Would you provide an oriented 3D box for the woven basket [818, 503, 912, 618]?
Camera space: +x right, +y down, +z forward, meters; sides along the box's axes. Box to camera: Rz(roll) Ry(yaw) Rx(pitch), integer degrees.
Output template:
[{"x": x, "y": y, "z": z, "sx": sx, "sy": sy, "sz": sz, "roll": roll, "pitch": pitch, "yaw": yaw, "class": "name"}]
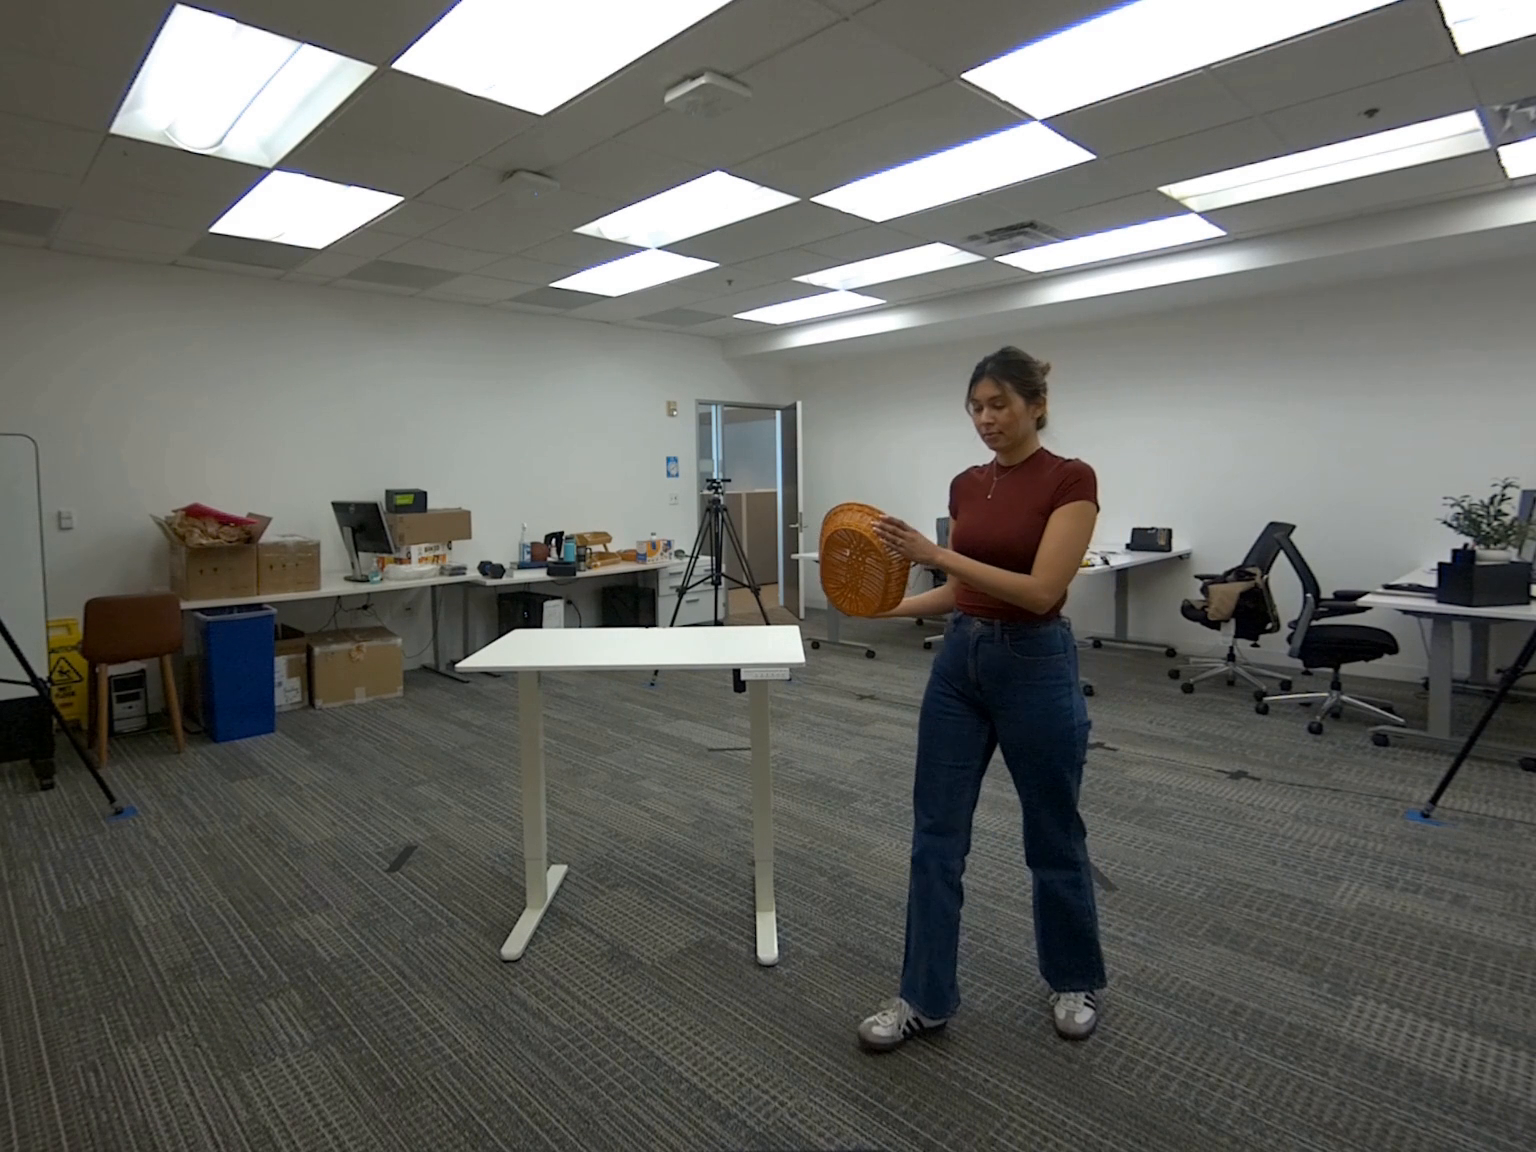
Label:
[{"x": 0.235, "y": -0.025, "z": 2.133, "sx": 0.260, "sy": 0.341, "sz": 0.073, "roll": 24, "pitch": 46, "yaw": 26, "class": "woven basket"}]
